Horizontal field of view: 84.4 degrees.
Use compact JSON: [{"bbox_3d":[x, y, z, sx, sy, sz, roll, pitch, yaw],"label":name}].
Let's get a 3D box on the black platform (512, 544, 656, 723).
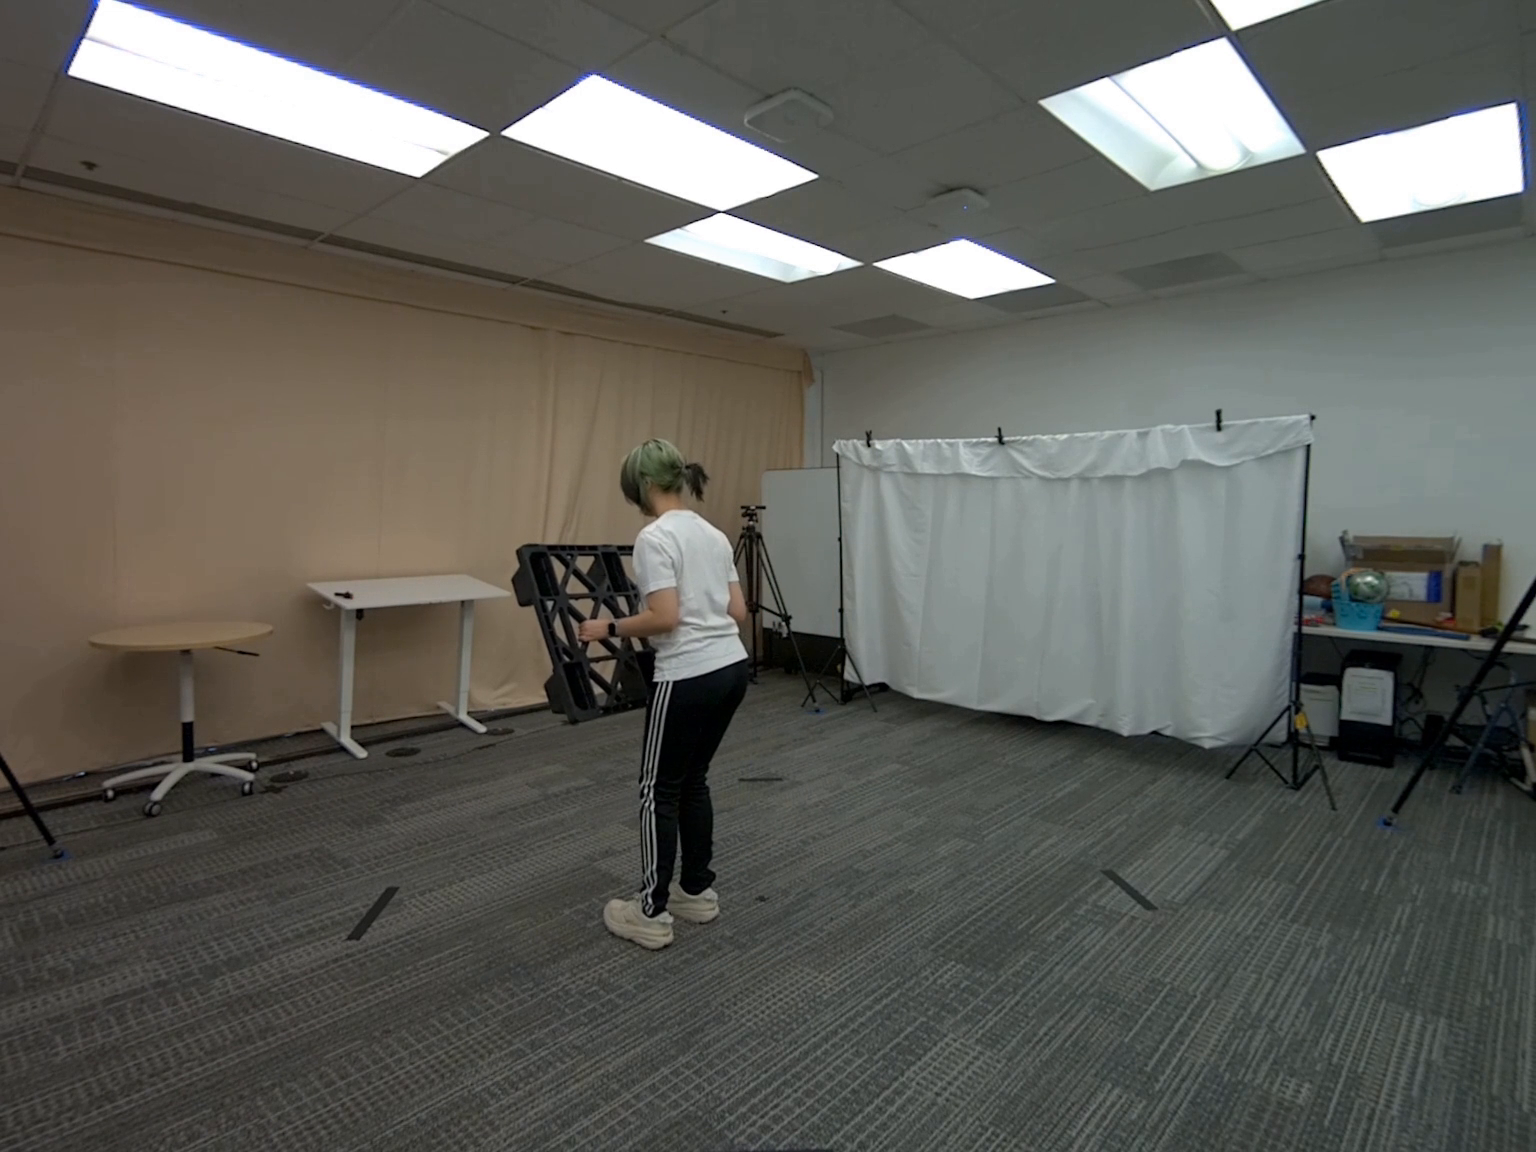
[{"bbox_3d":[-0.515,0.191,2.984,0.146,0.613,0.782,-29,-15,31],"label":"black platform"}]
